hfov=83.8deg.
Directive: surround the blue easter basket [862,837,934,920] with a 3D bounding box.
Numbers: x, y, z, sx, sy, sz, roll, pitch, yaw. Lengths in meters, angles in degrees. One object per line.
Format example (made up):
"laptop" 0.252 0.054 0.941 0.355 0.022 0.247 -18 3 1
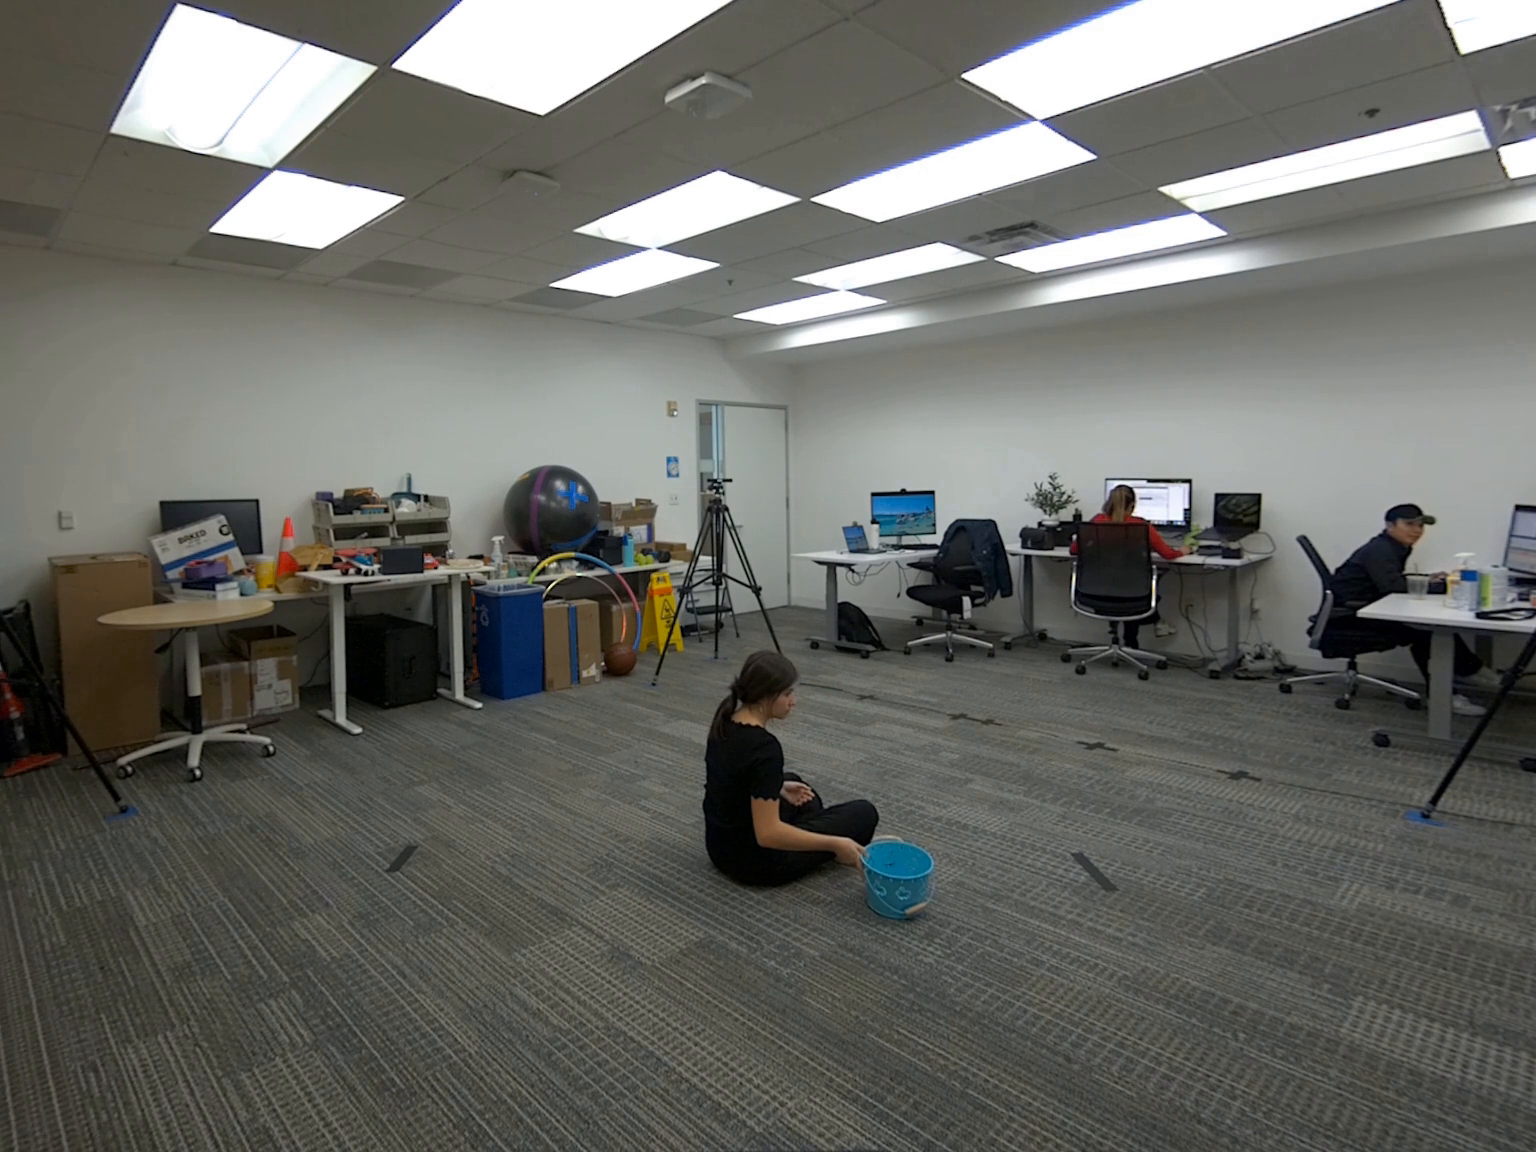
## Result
"blue easter basket" 0.420 0.992 2.764 0.243 0.155 0.245 -1 8 -2
